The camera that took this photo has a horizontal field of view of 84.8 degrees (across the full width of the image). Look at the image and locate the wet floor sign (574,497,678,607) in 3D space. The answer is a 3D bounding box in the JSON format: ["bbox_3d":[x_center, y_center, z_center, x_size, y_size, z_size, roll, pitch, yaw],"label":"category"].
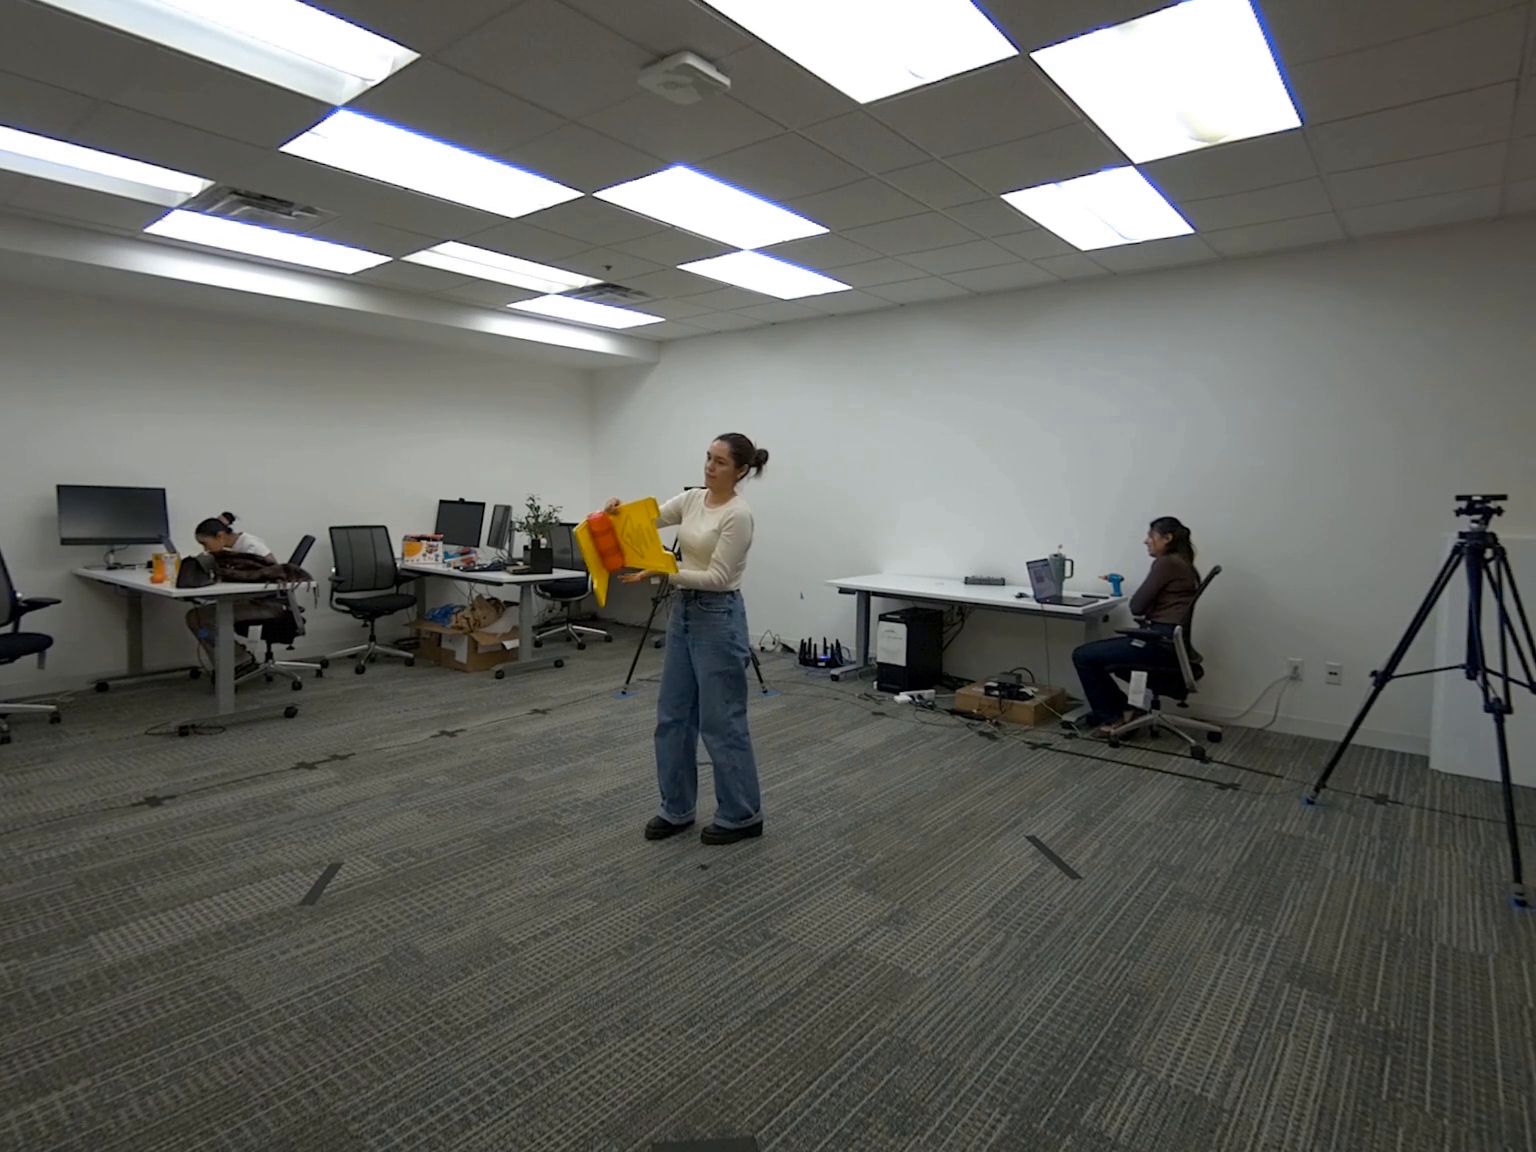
[{"bbox_3d":[-0.581,-0.119,3.173,0.287,0.278,0.660,-24,12,-16],"label":"wet floor sign"}]
